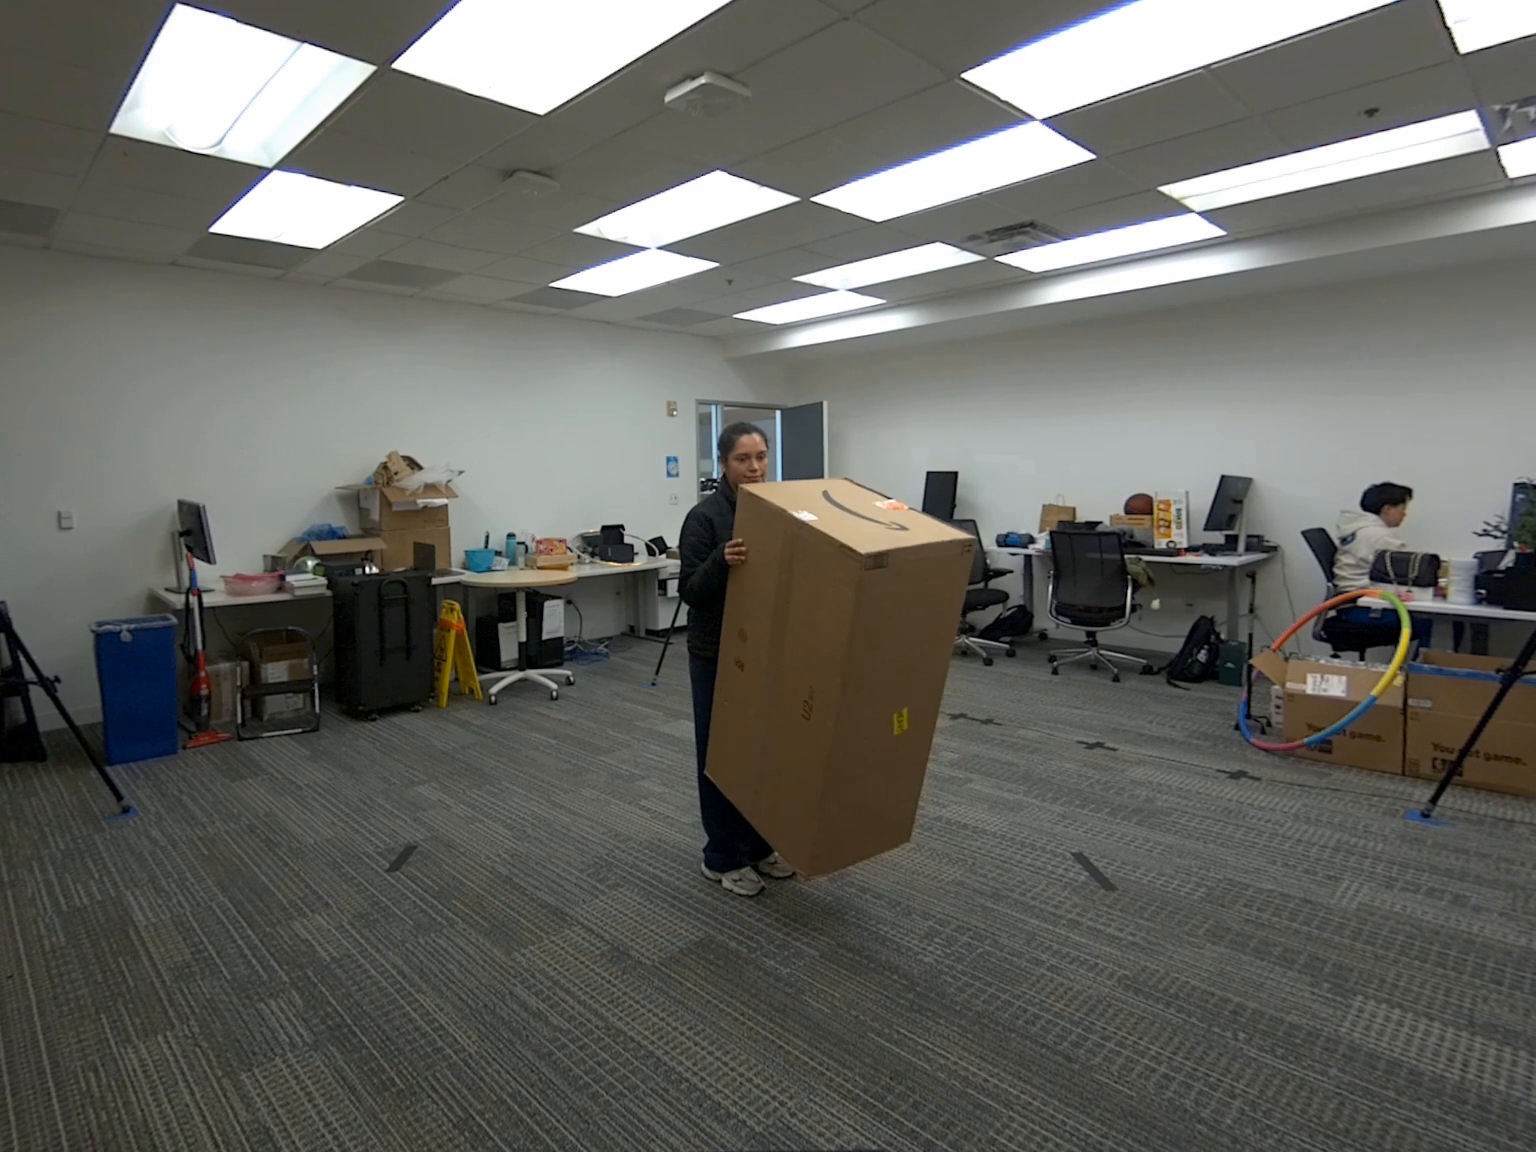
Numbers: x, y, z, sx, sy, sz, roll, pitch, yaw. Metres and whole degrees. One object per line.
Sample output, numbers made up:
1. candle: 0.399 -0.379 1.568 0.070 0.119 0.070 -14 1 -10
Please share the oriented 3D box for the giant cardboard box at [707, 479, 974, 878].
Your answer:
1. giant cardboard box: 0.184 0.291 2.627 0.416 1.011 0.600 -6 24 -34
